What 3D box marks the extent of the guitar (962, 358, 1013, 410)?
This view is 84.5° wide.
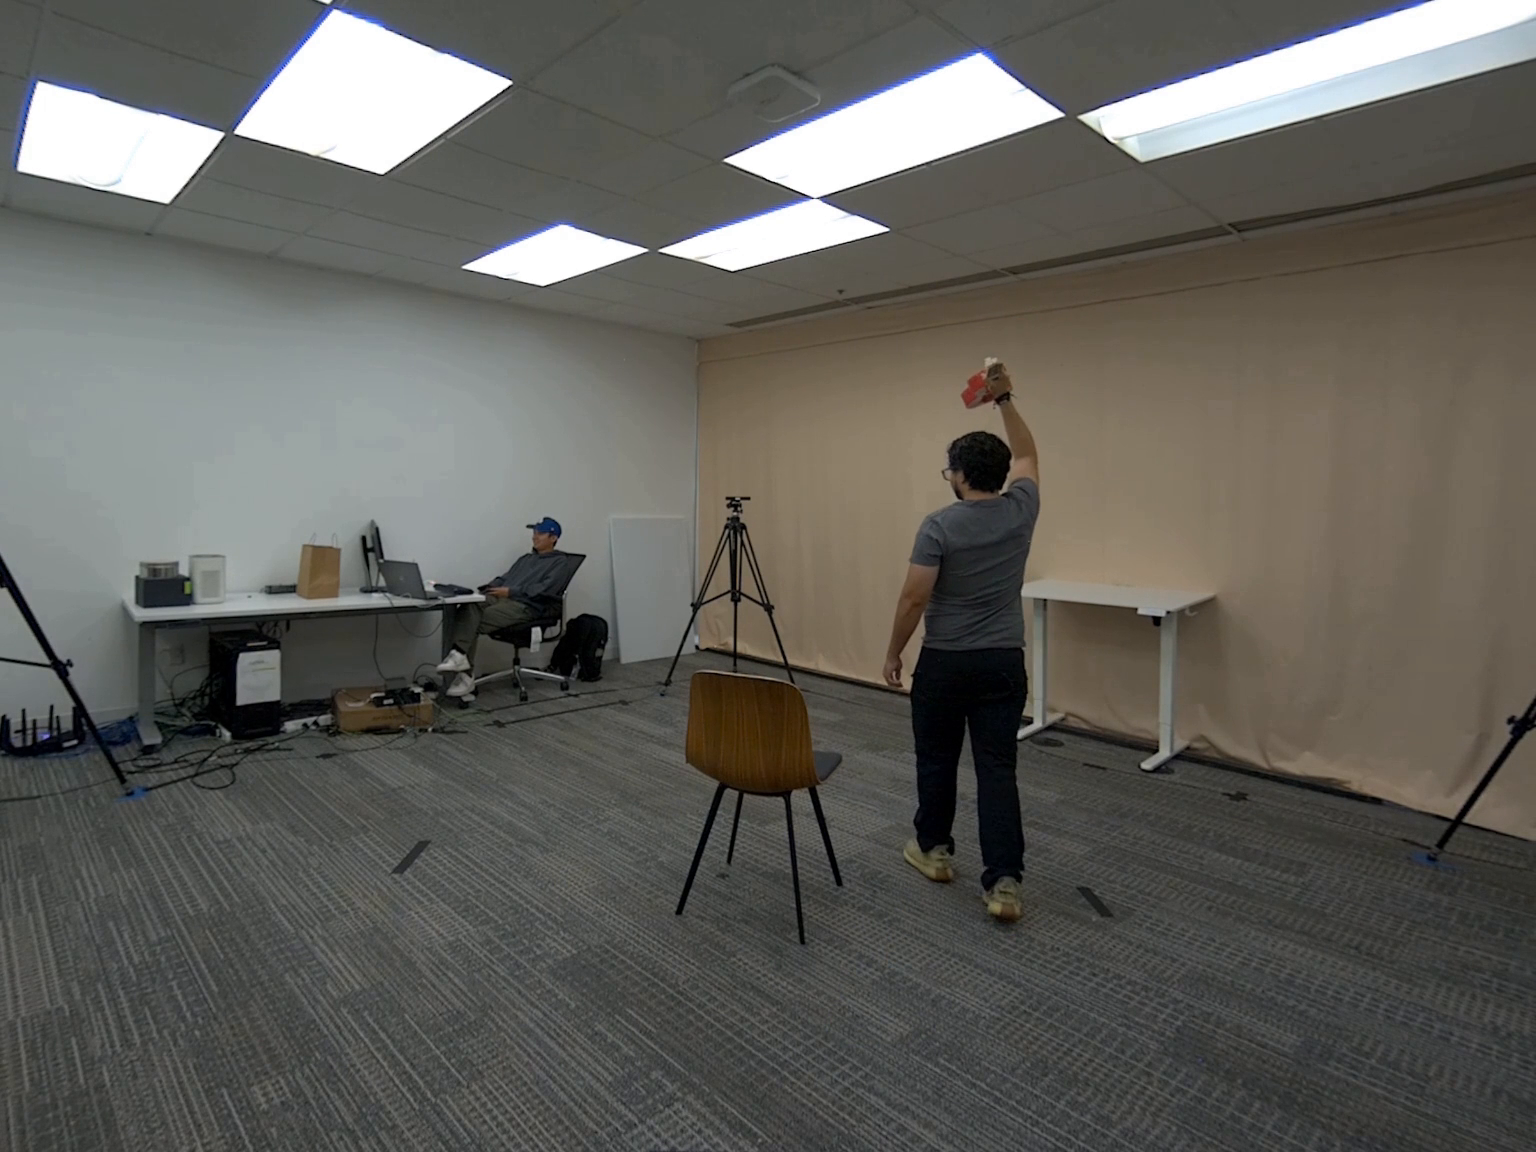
[{"bbox_3d":[0.863,-0.752,3.182,0.193,0.071,0.493,-16,-7,1],"label":"guitar"}]
